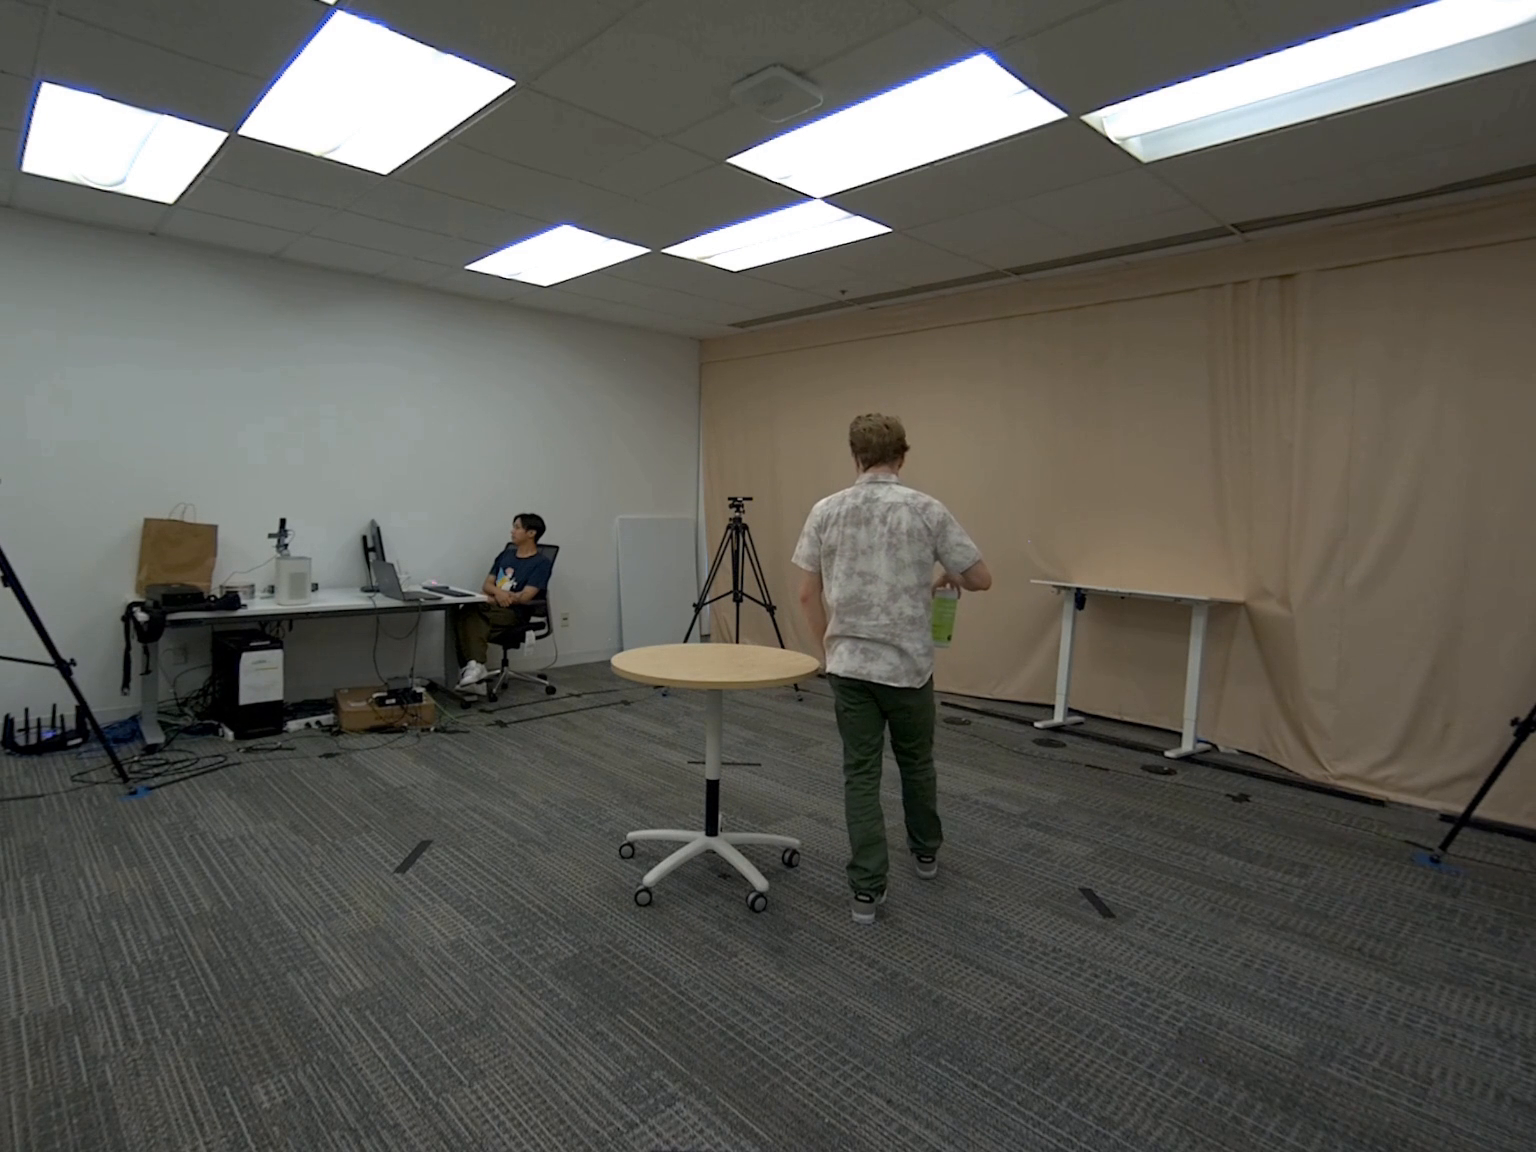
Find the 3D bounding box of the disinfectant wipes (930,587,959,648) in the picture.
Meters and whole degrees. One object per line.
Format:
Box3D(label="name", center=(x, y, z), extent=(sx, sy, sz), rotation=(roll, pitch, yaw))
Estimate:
Box3D(label="disinfectant wipes", center=(0.639, 0.155, 3.166), extent=(0.117, 0.216, 0.118), rotation=(6, 6, -2))
